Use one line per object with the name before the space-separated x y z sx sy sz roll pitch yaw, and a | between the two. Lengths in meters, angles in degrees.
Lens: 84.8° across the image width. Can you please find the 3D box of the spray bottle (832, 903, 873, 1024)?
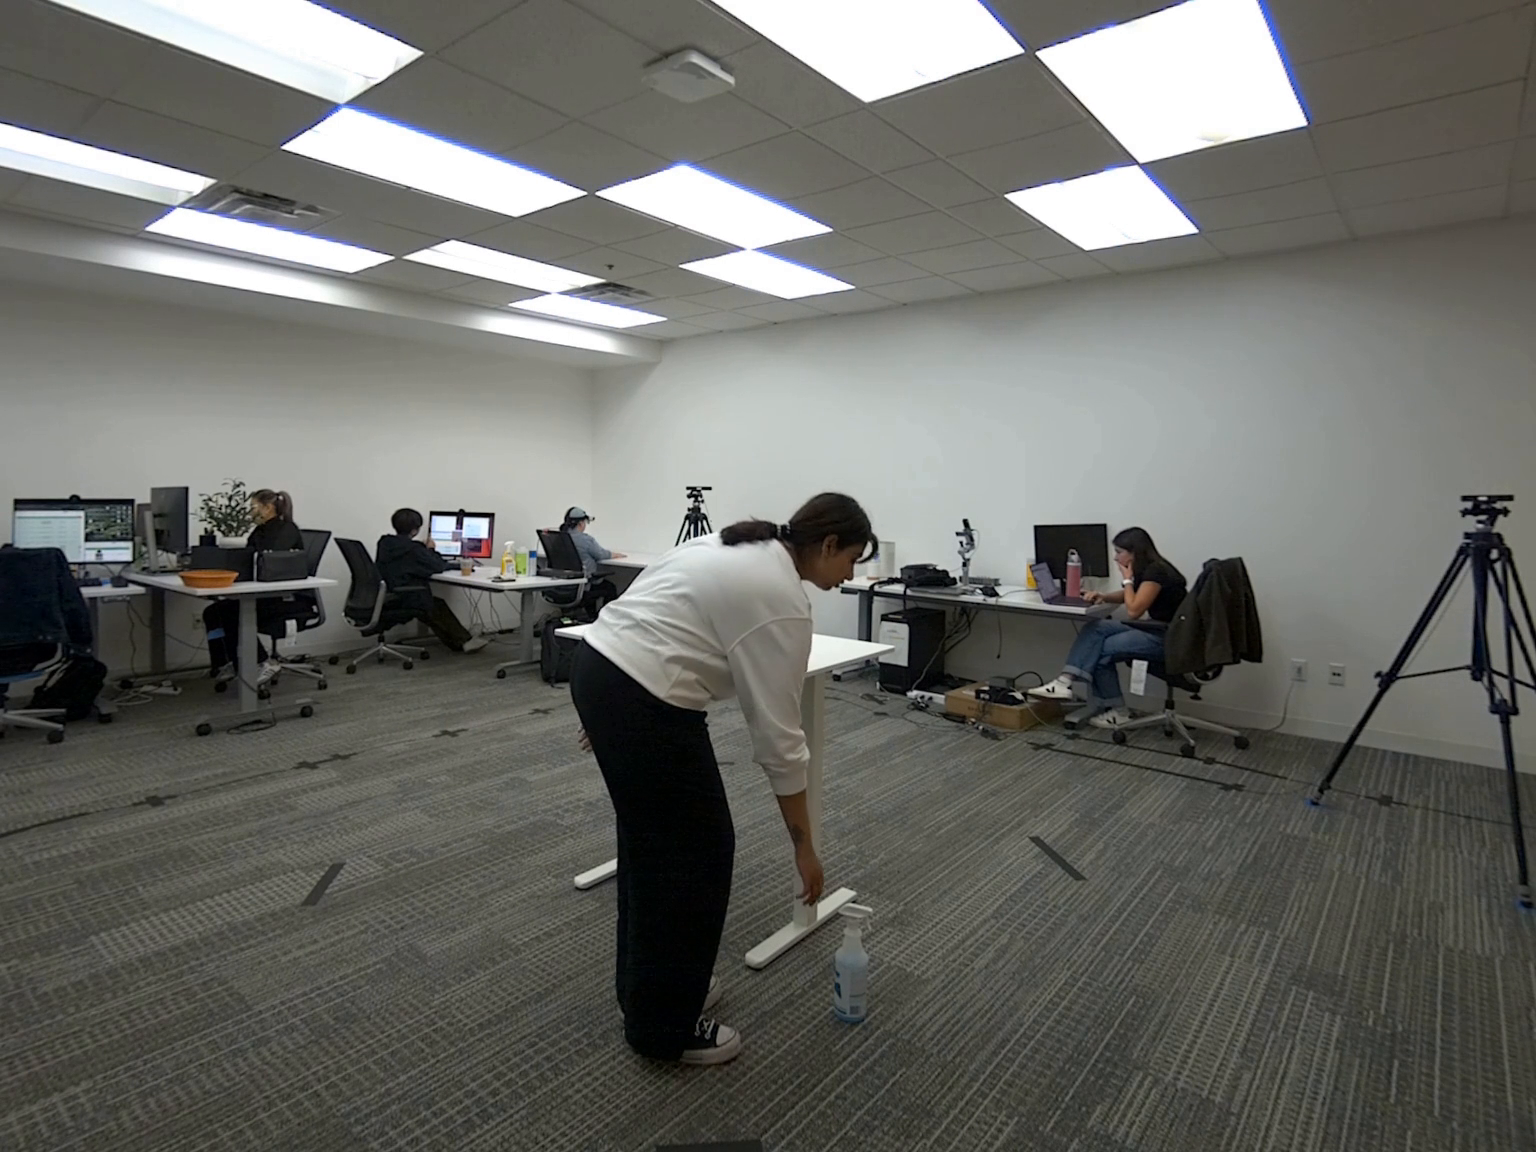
spray bottle | 0.216 1.016 2.256 0.084 0.296 0.093 0 5 -42
